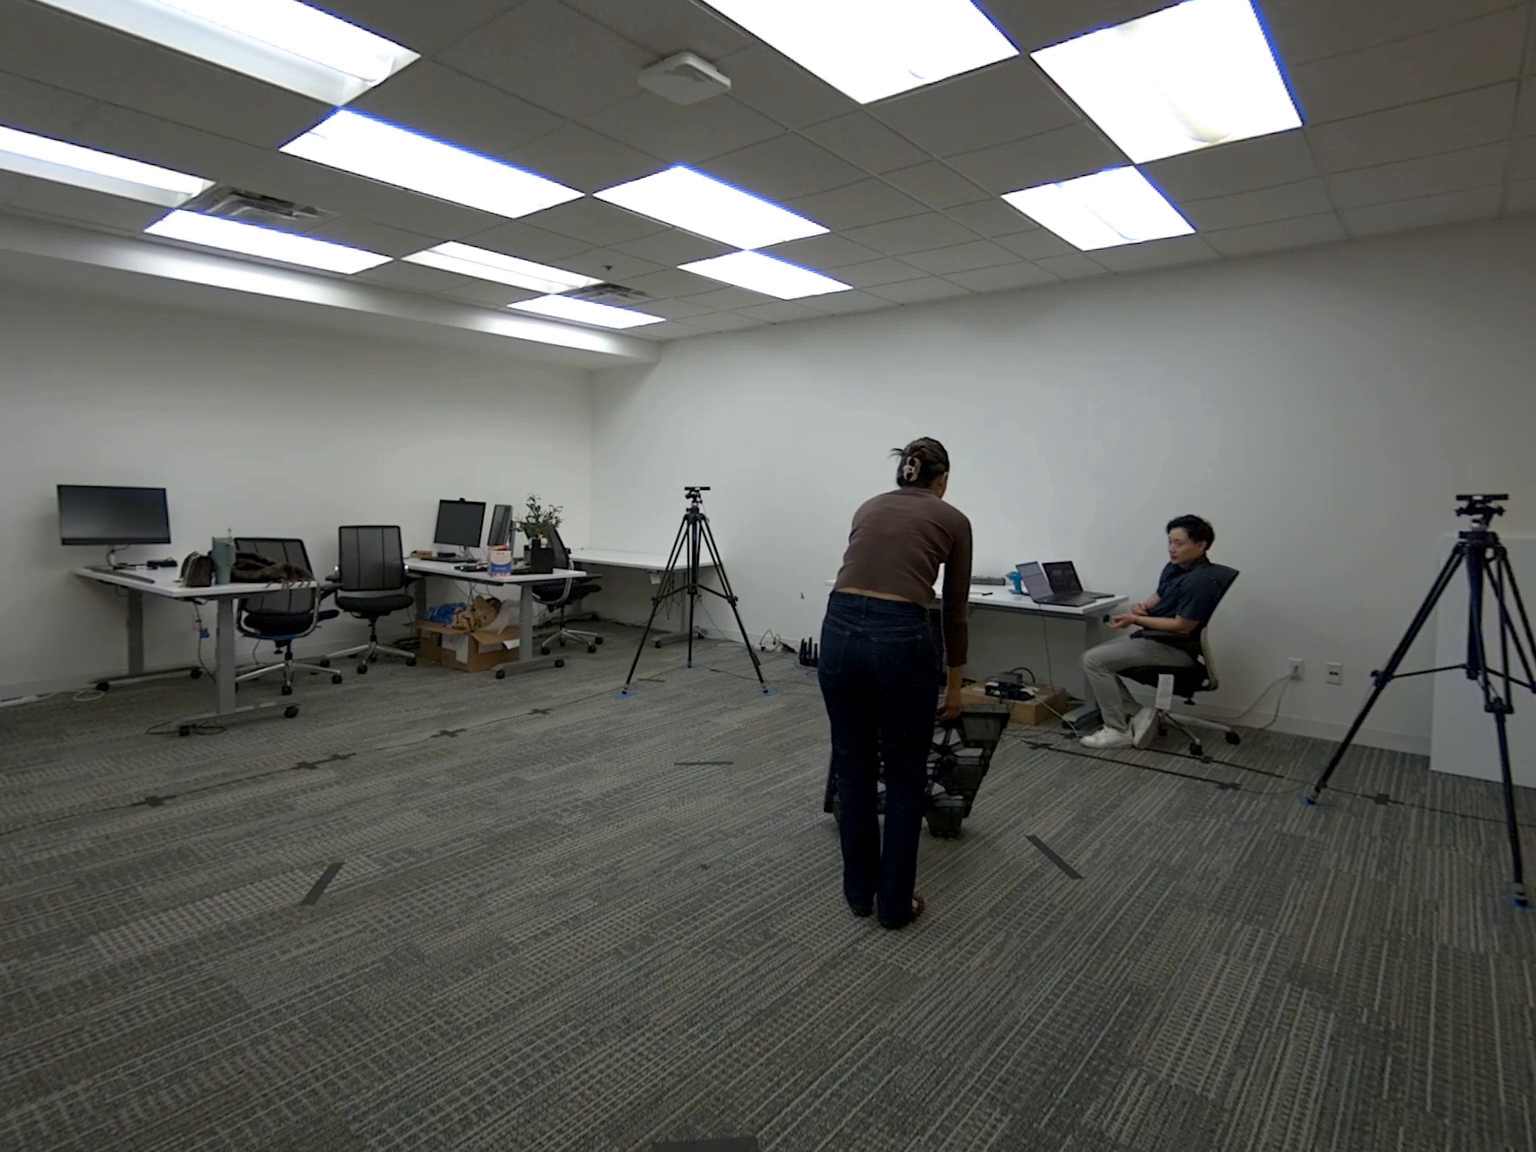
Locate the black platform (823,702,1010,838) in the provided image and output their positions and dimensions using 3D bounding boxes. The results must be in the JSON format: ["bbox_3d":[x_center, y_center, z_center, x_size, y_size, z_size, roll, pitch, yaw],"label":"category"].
[{"bbox_3d":[0.536,0.753,3.235,0.606,0.783,0.147,2,46,0],"label":"black platform"}]
